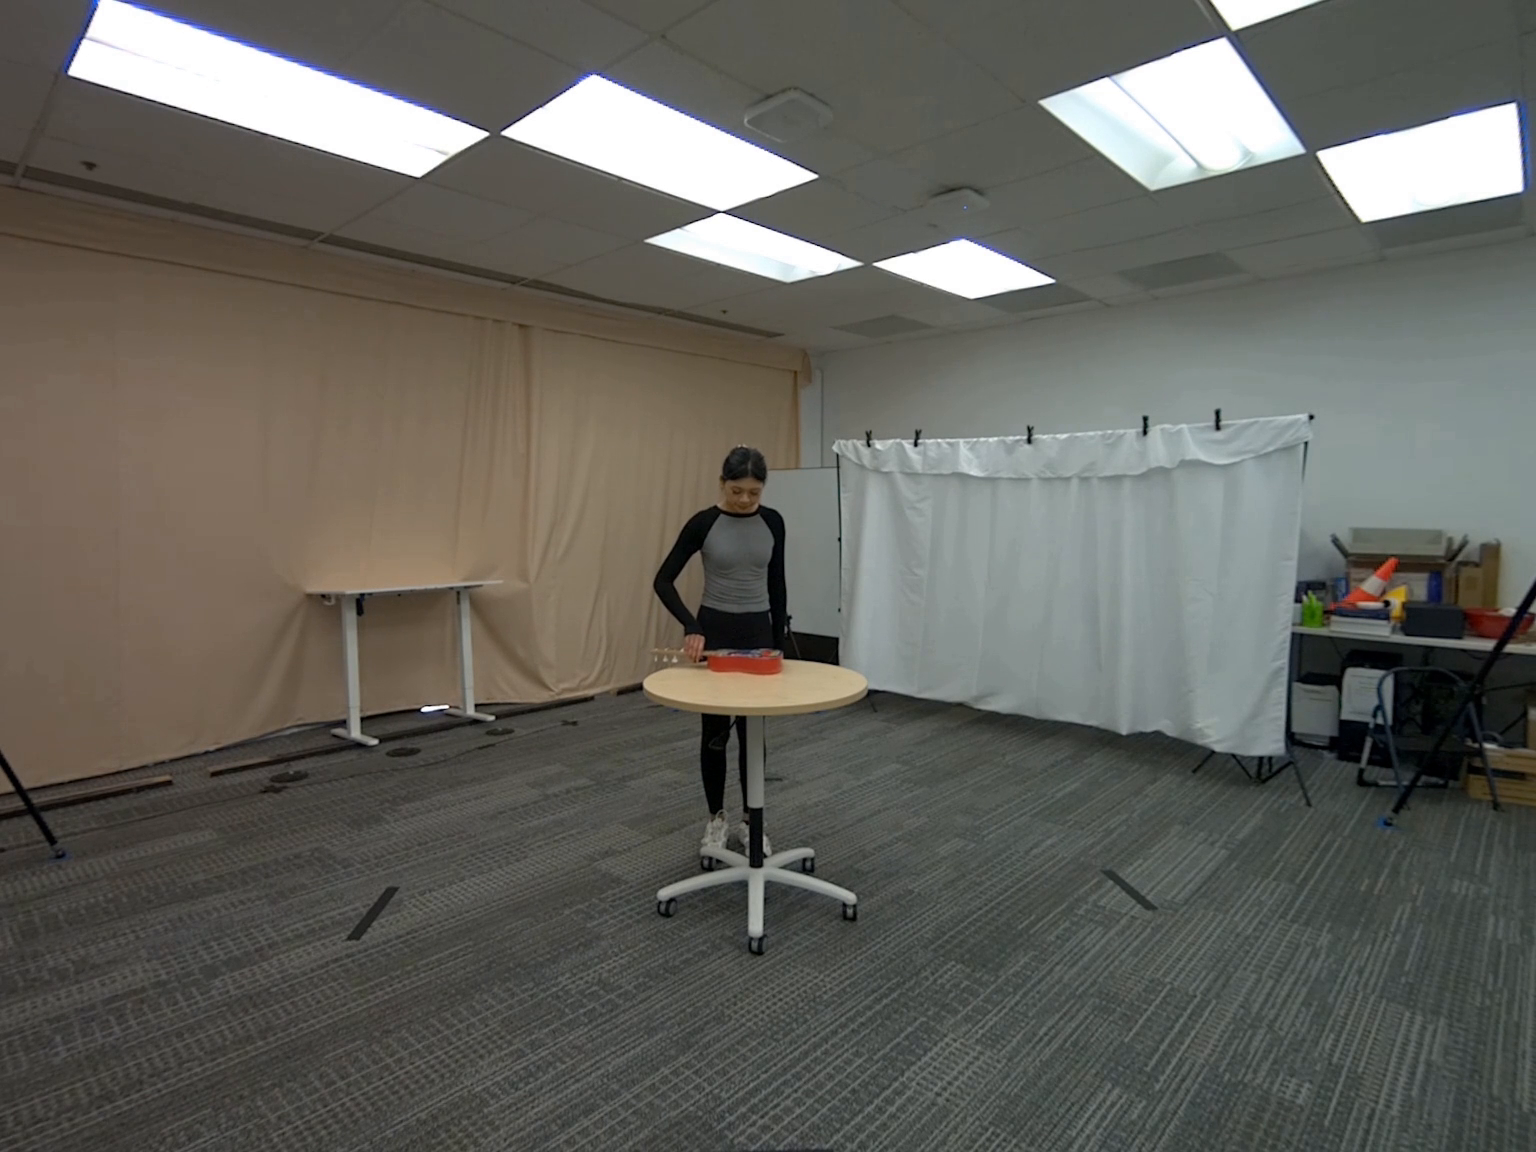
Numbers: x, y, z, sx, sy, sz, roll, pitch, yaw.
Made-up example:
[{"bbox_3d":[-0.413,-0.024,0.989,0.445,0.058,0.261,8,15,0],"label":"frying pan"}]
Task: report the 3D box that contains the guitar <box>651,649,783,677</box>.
[{"bbox_3d":[-0.188,0.299,3.133,0.508,0.070,0.190,2,8,18],"label":"guitar"}]
